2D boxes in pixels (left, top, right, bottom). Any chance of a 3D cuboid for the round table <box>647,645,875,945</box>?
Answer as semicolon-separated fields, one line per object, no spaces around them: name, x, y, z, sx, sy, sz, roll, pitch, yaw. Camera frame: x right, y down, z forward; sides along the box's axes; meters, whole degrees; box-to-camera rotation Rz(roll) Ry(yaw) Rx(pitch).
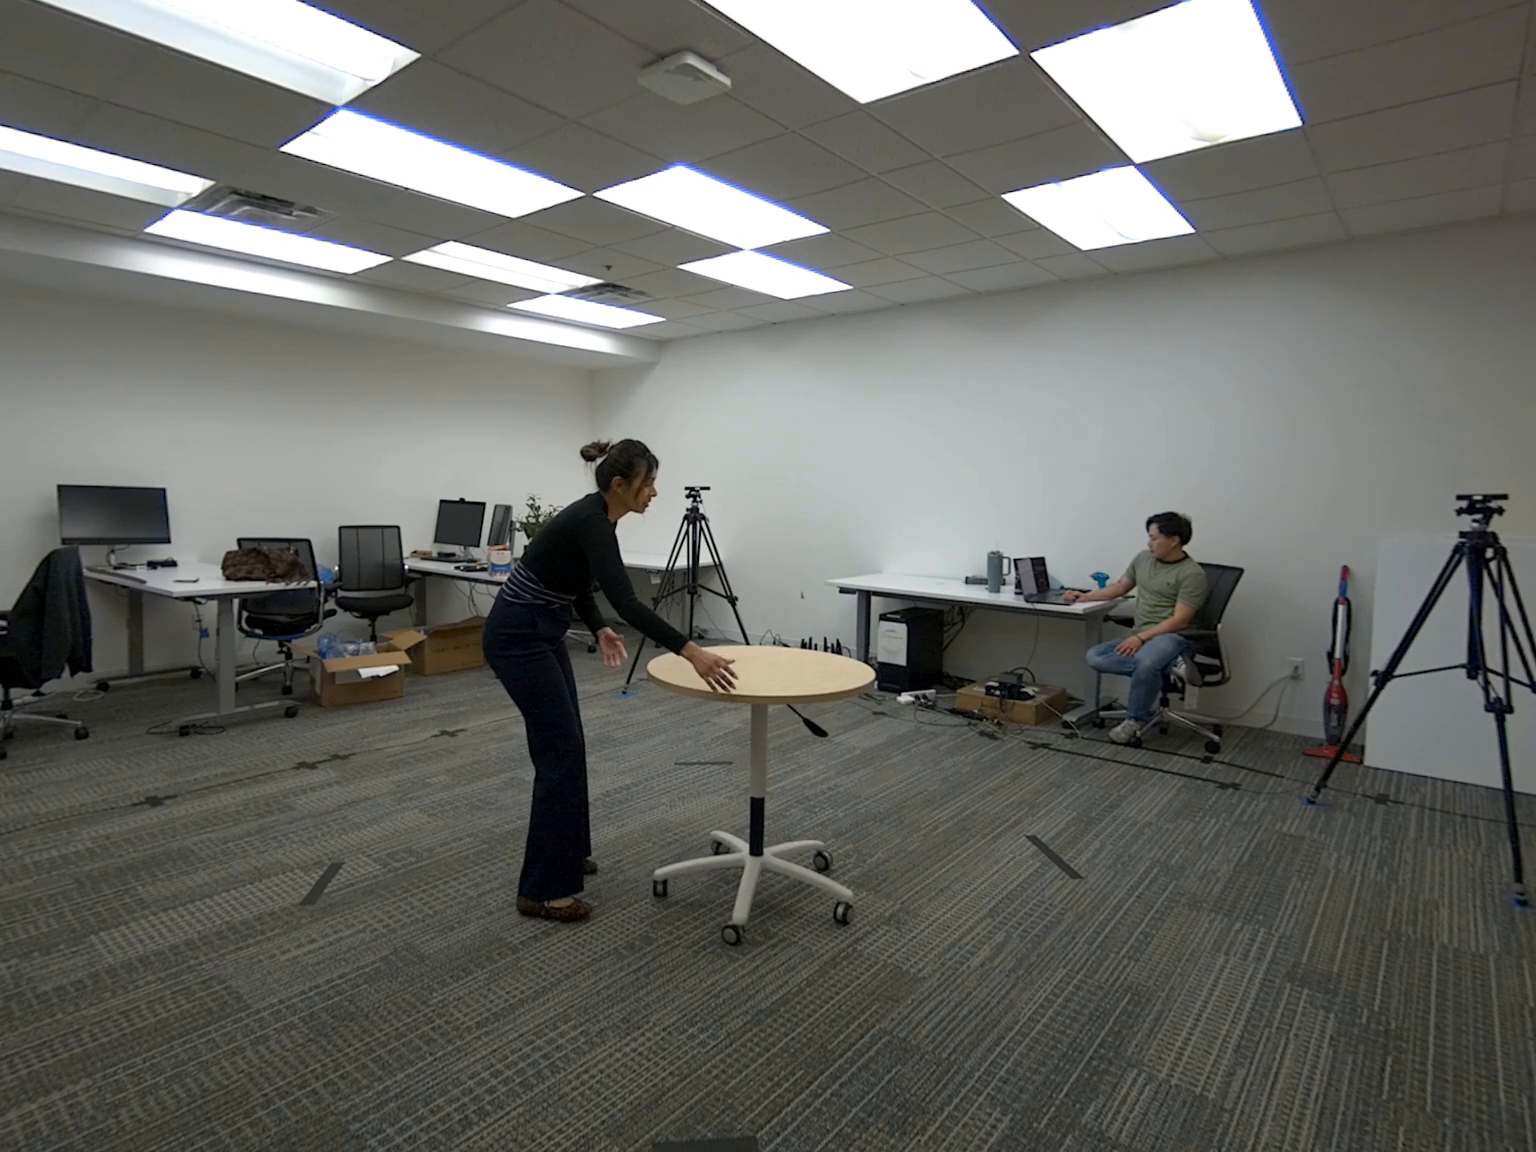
round table;-0.038;0.702;2.887;0.763;0.791;0.768;1;5;-2
